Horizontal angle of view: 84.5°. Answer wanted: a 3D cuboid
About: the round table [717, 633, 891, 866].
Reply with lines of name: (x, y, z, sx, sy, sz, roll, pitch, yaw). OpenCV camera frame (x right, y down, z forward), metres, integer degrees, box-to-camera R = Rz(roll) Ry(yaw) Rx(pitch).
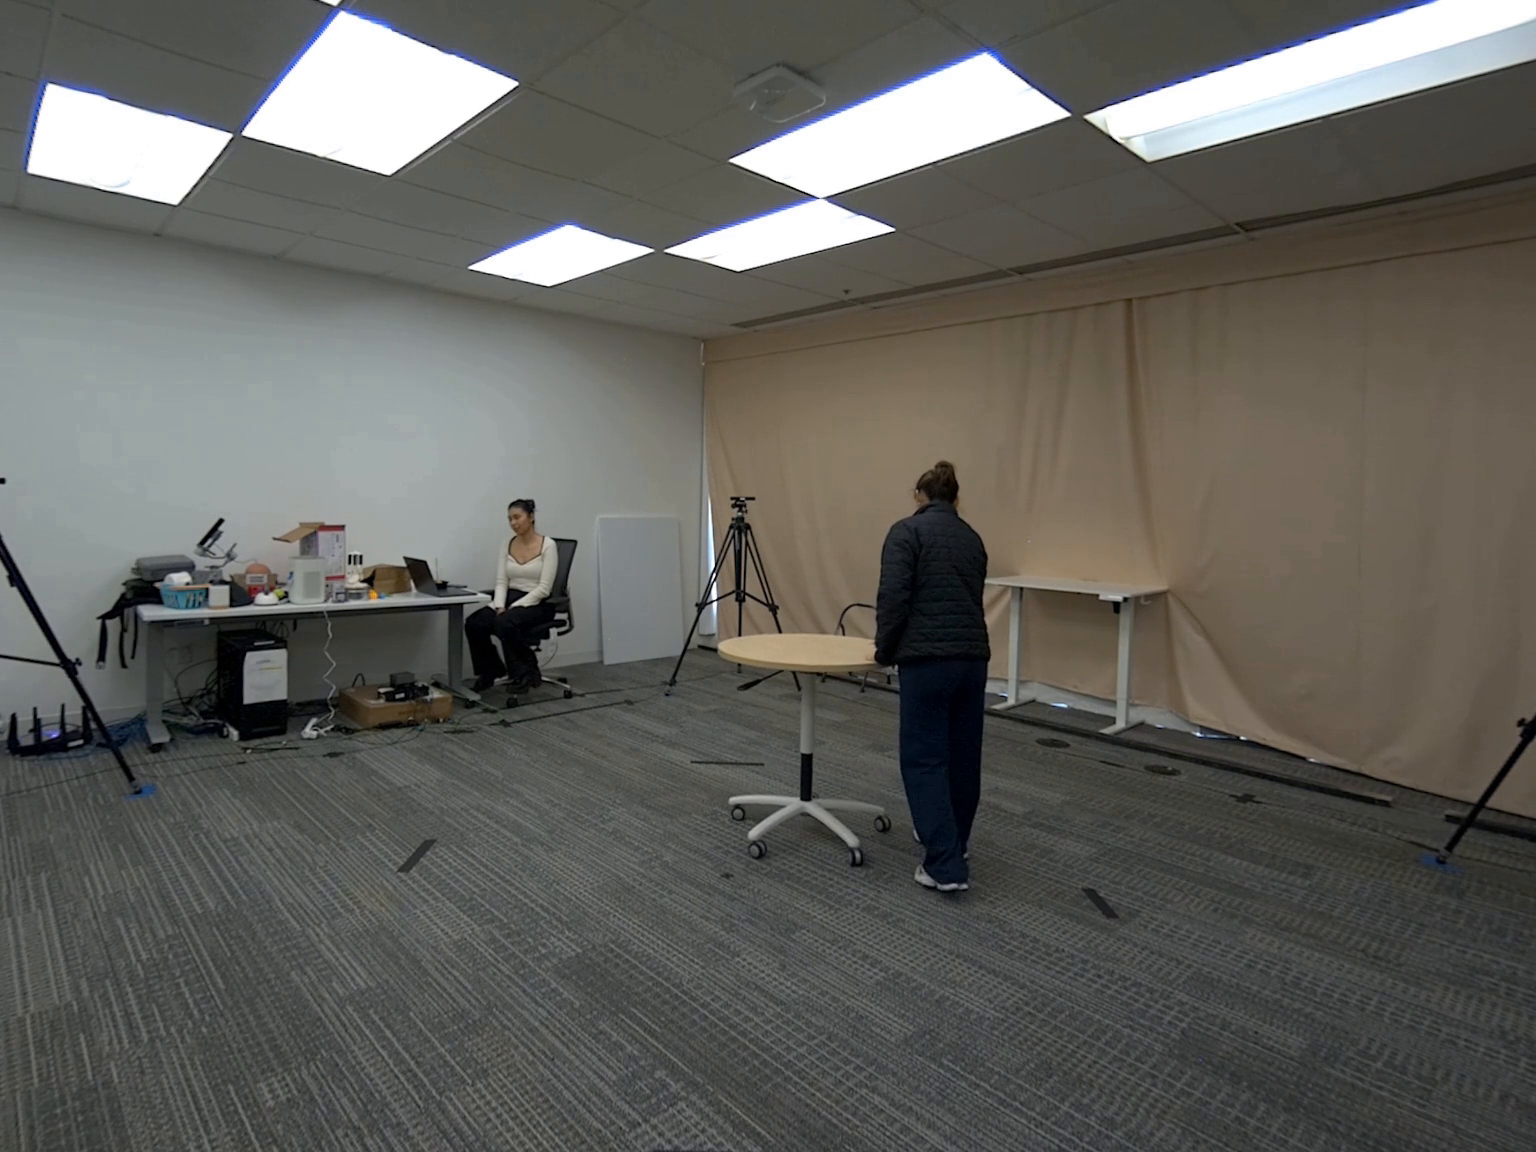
round table: (0.172, 0.686, 3.501, 0.784, 0.784, 0.788, 1, 4, -1)
